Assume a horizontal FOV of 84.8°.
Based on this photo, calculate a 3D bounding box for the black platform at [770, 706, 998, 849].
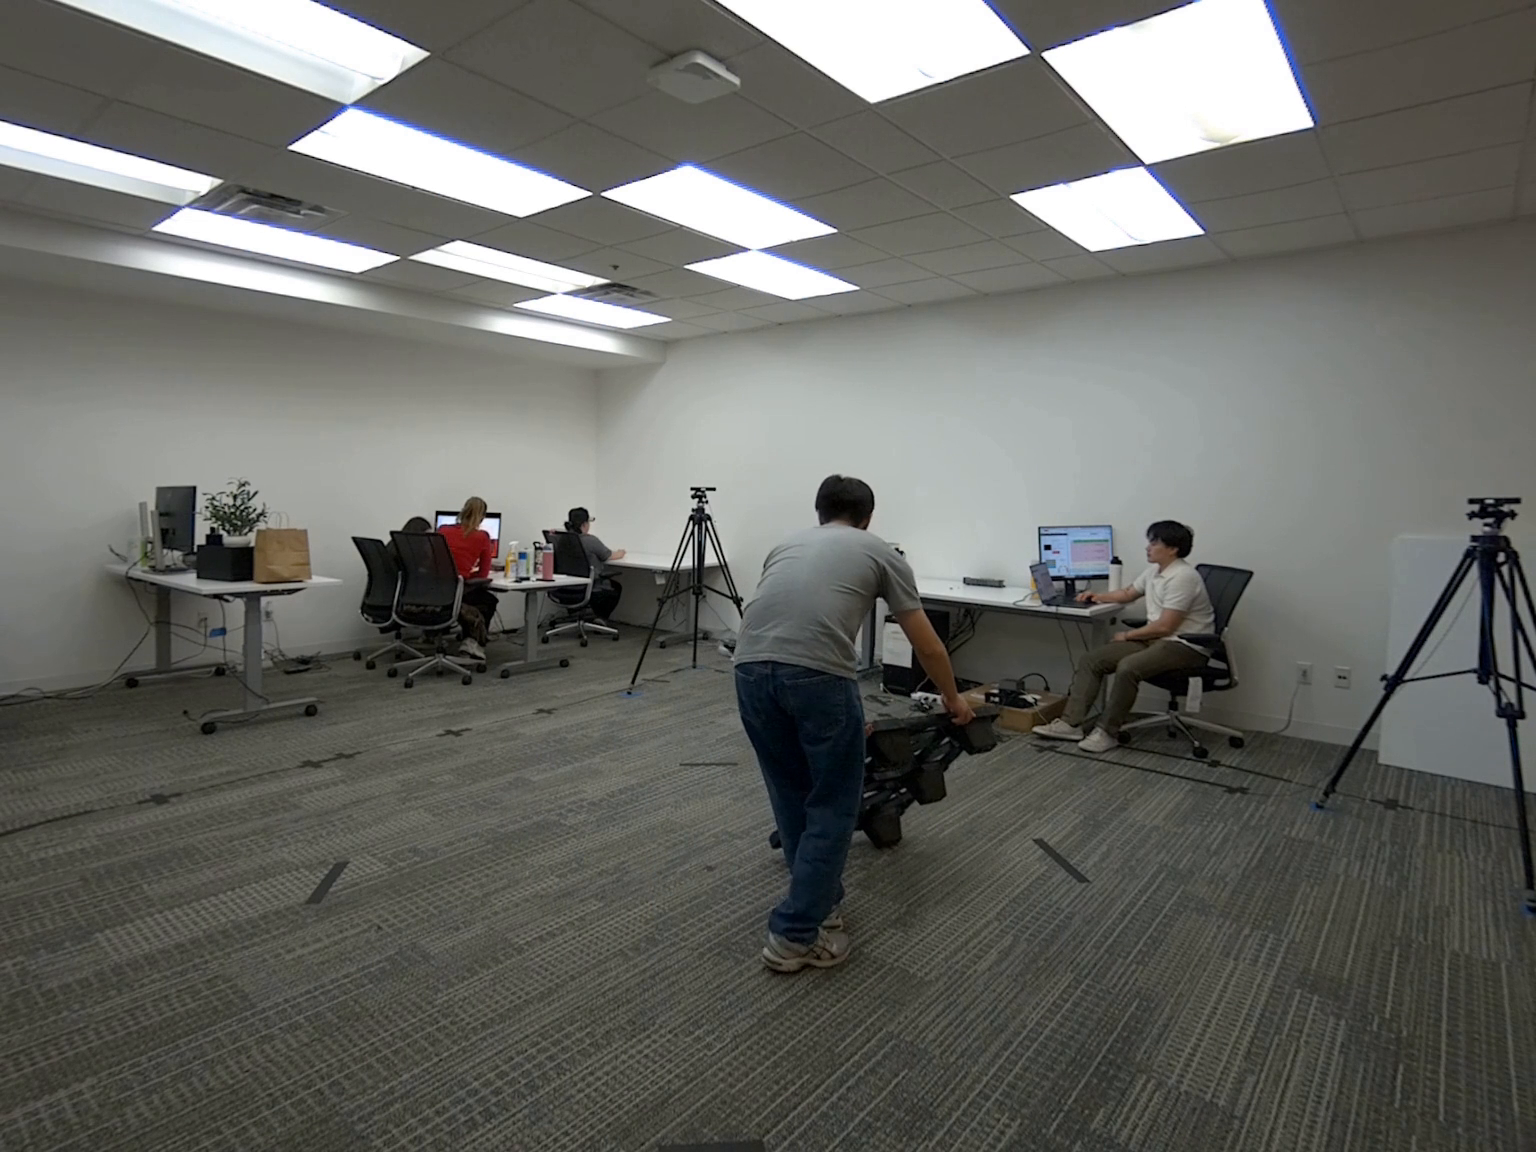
[{"bbox_3d":[0.417,0.766,3.055,0.589,0.796,0.149,-1,47,-30],"label":"black platform"}]
